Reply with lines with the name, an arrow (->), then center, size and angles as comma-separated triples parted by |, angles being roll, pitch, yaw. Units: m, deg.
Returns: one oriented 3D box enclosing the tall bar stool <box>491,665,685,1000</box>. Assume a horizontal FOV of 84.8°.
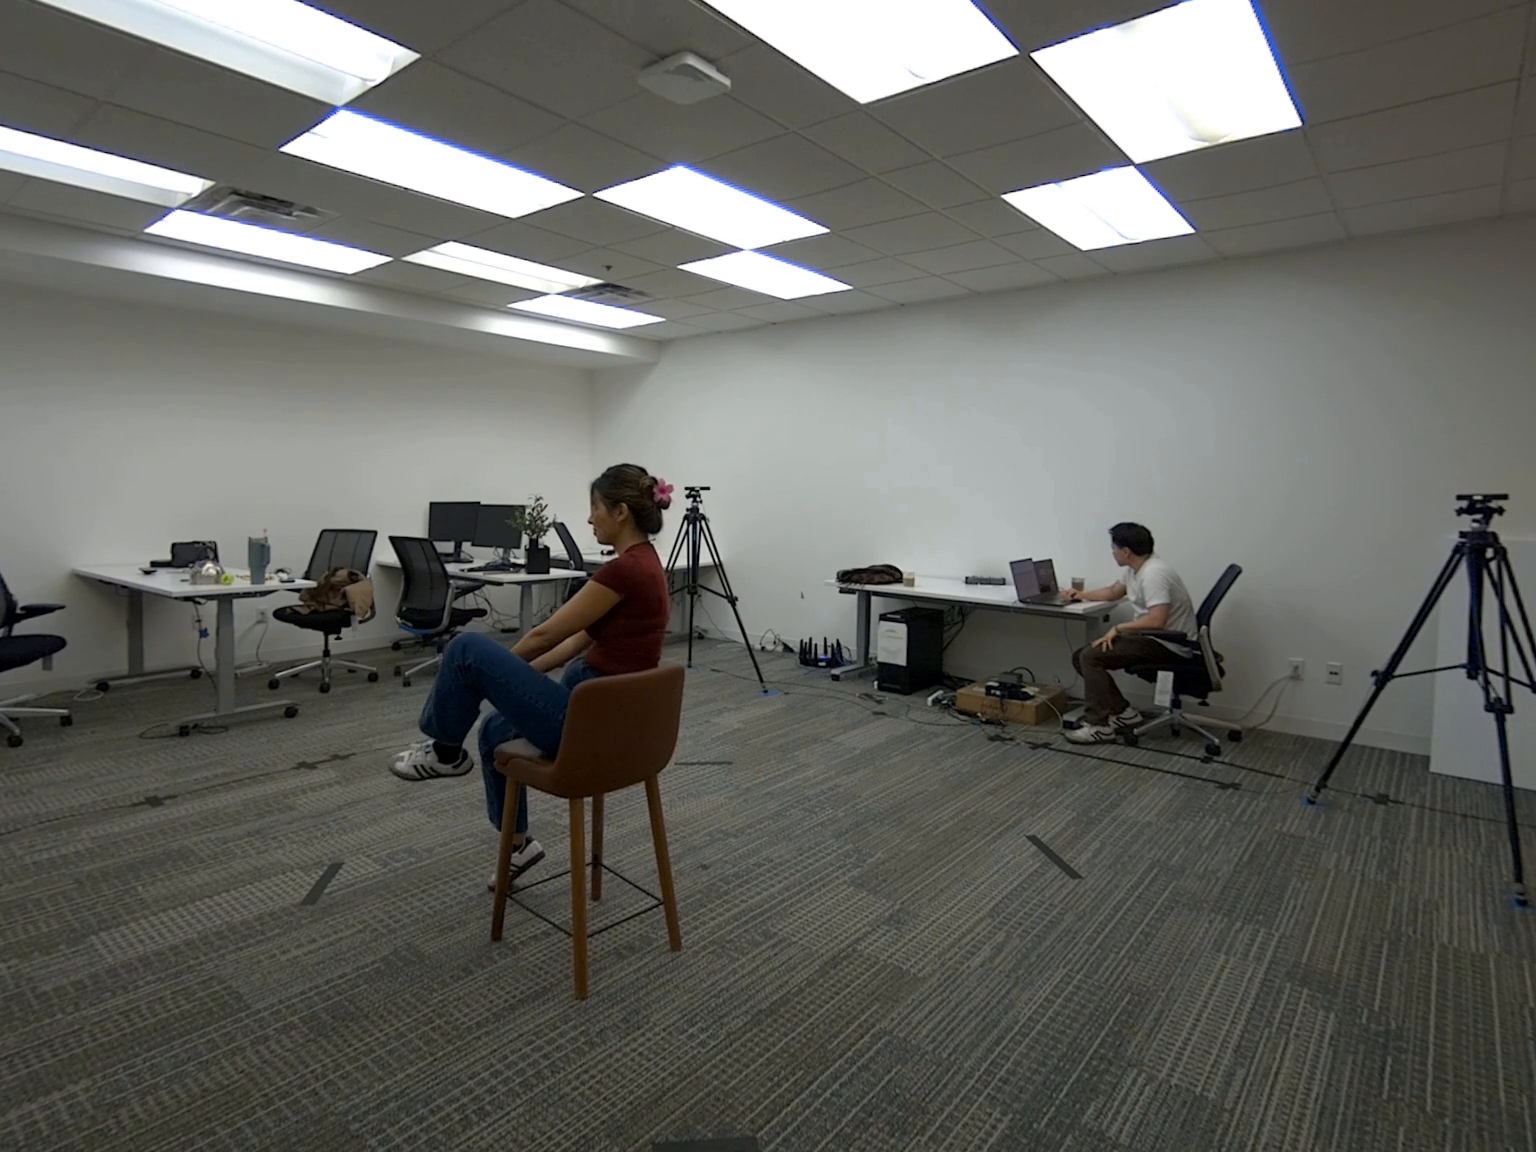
tall bar stool -> -0.547, 0.685, 2.546 | 0.484, 0.885, 0.443 | 7, 7, 43
